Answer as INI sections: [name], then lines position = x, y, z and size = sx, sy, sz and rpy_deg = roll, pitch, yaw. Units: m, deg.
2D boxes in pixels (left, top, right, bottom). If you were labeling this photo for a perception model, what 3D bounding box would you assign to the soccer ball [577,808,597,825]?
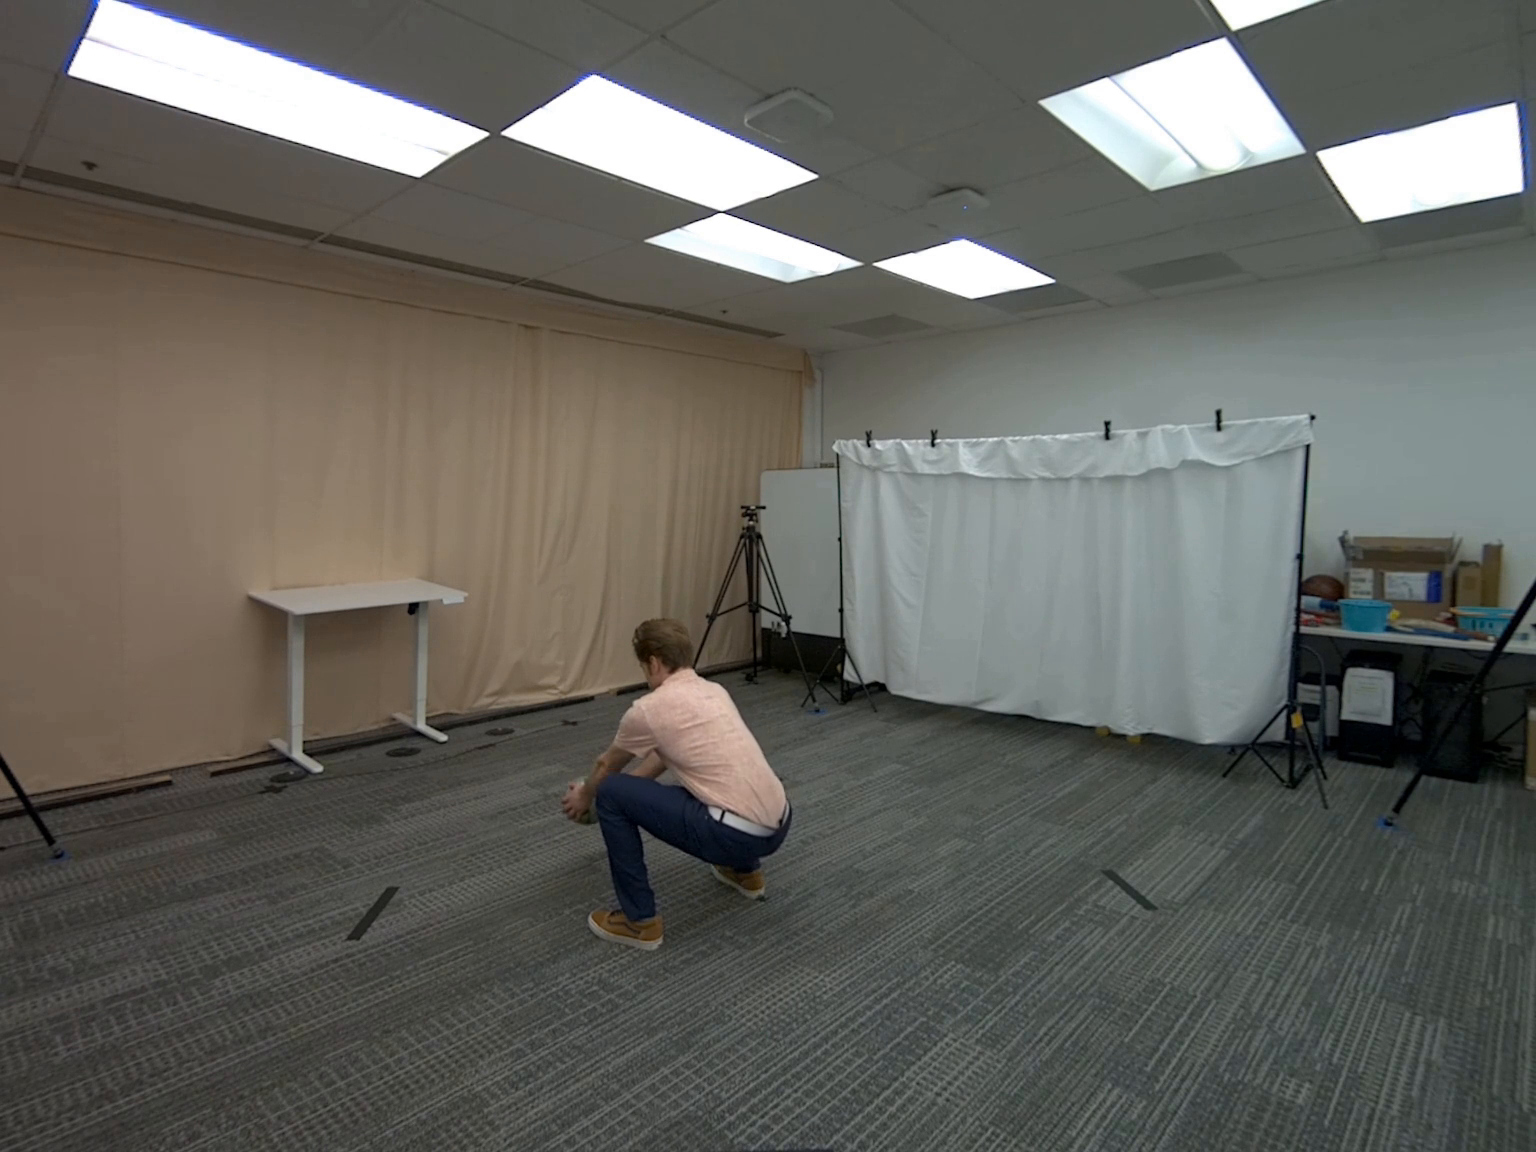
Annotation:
[soccer ball]
position = -0.696, 0.878, 3.280
size = 0.187, 0.187, 0.188
rpy_deg = 0, 4, -2
